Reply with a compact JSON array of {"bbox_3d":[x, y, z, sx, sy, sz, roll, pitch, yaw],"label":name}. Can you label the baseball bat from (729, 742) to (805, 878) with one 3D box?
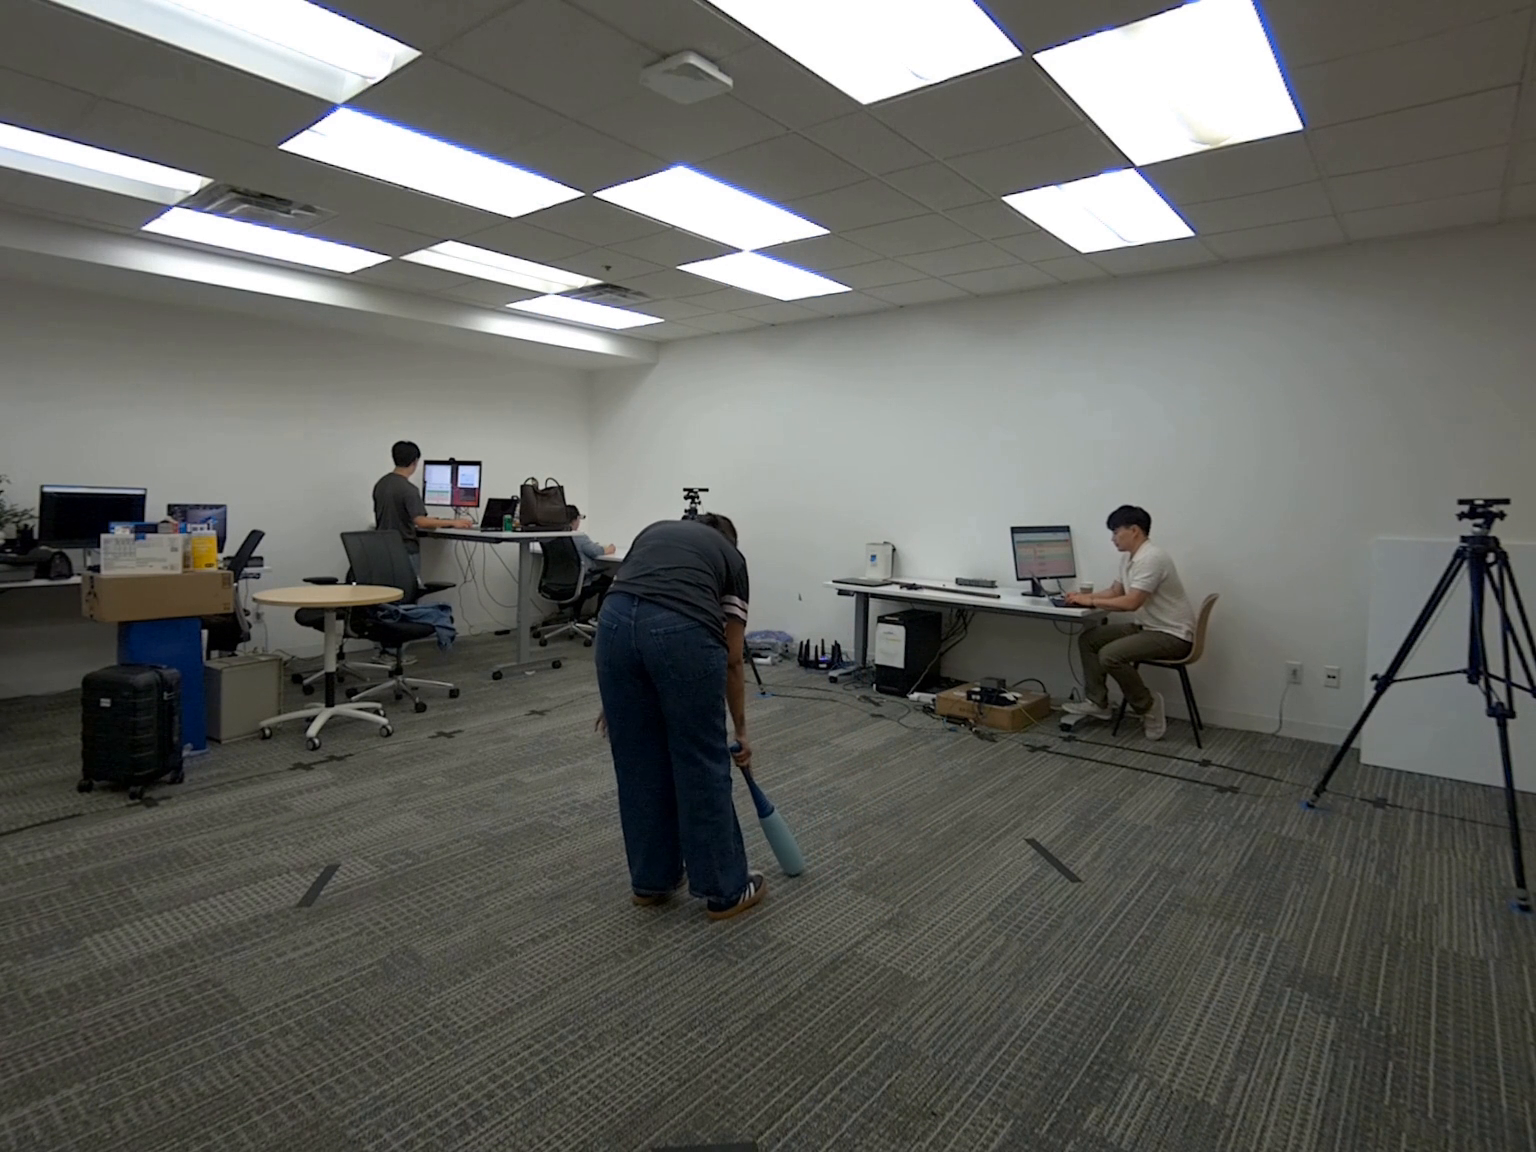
[{"bbox_3d":[-0.021,0.835,3.050,0.089,0.536,0.090,-27,10,4],"label":"baseball bat"}]
